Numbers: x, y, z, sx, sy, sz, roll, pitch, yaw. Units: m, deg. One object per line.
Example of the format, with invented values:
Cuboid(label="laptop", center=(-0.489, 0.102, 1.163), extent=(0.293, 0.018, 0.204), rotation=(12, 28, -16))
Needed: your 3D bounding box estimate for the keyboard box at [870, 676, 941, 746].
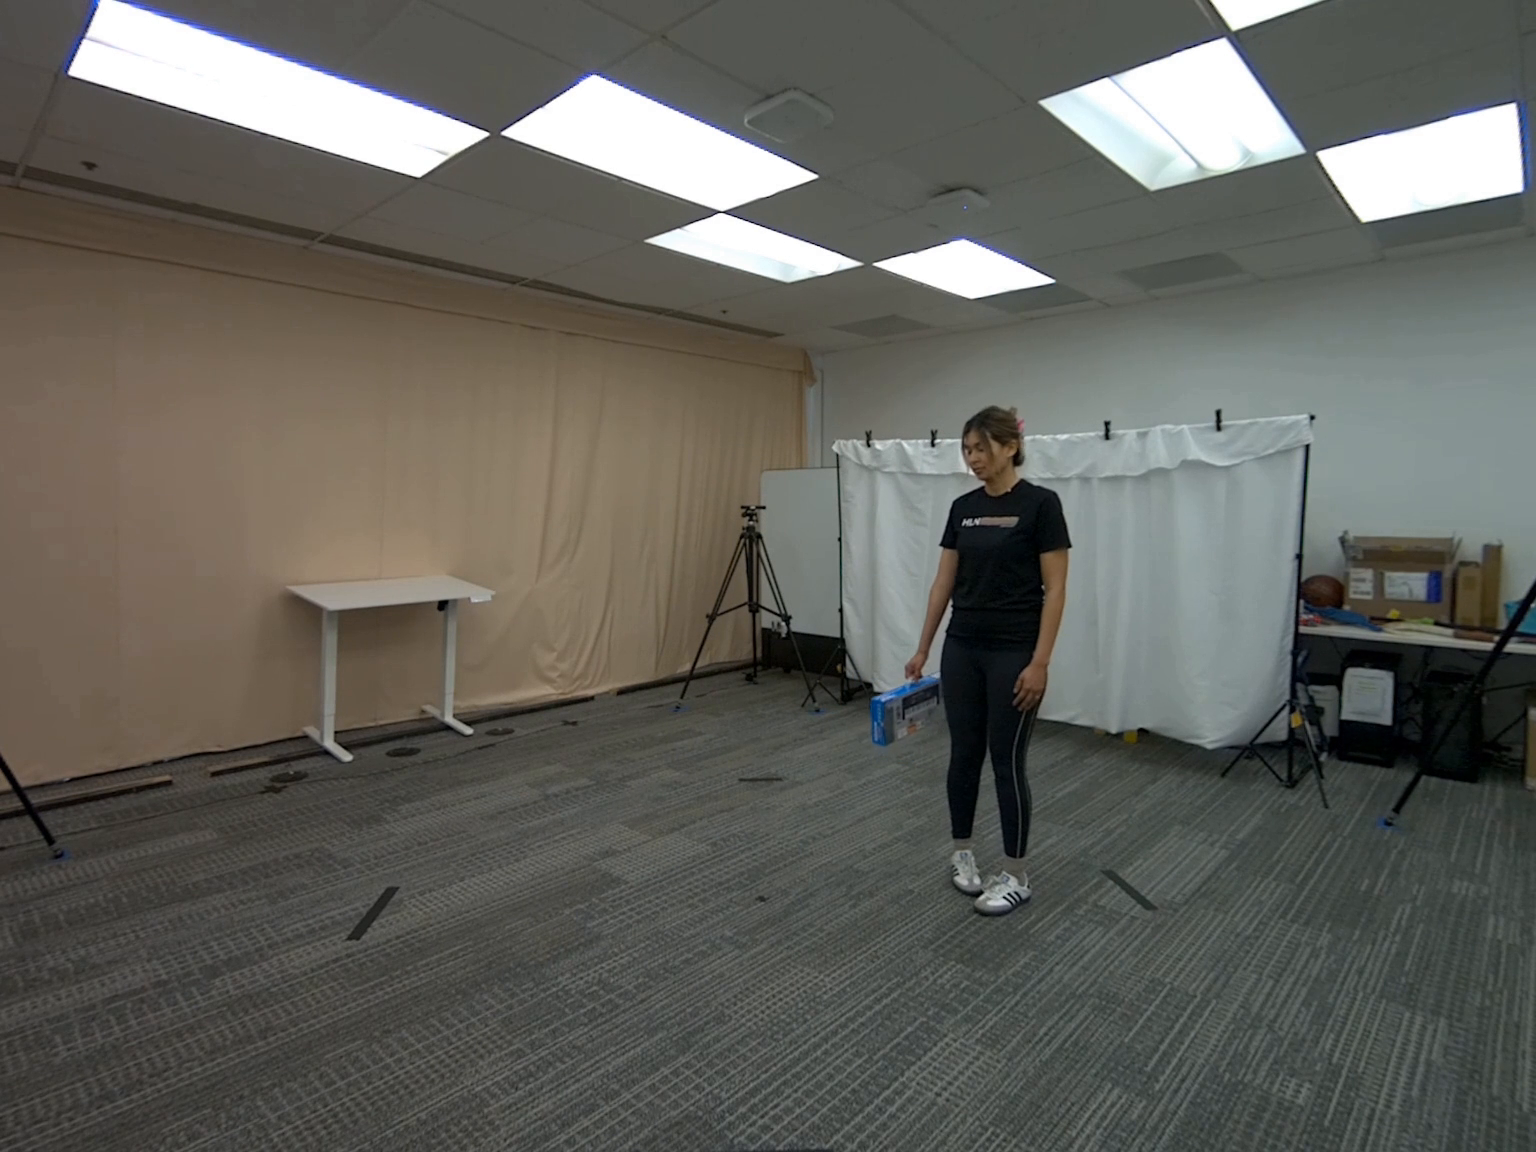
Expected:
Cuboid(label="keyboard box", center=(0.570, 0.499, 3.196), extent=(0.425, 0.174, 0.061), rotation=(-13, 14, -39))
